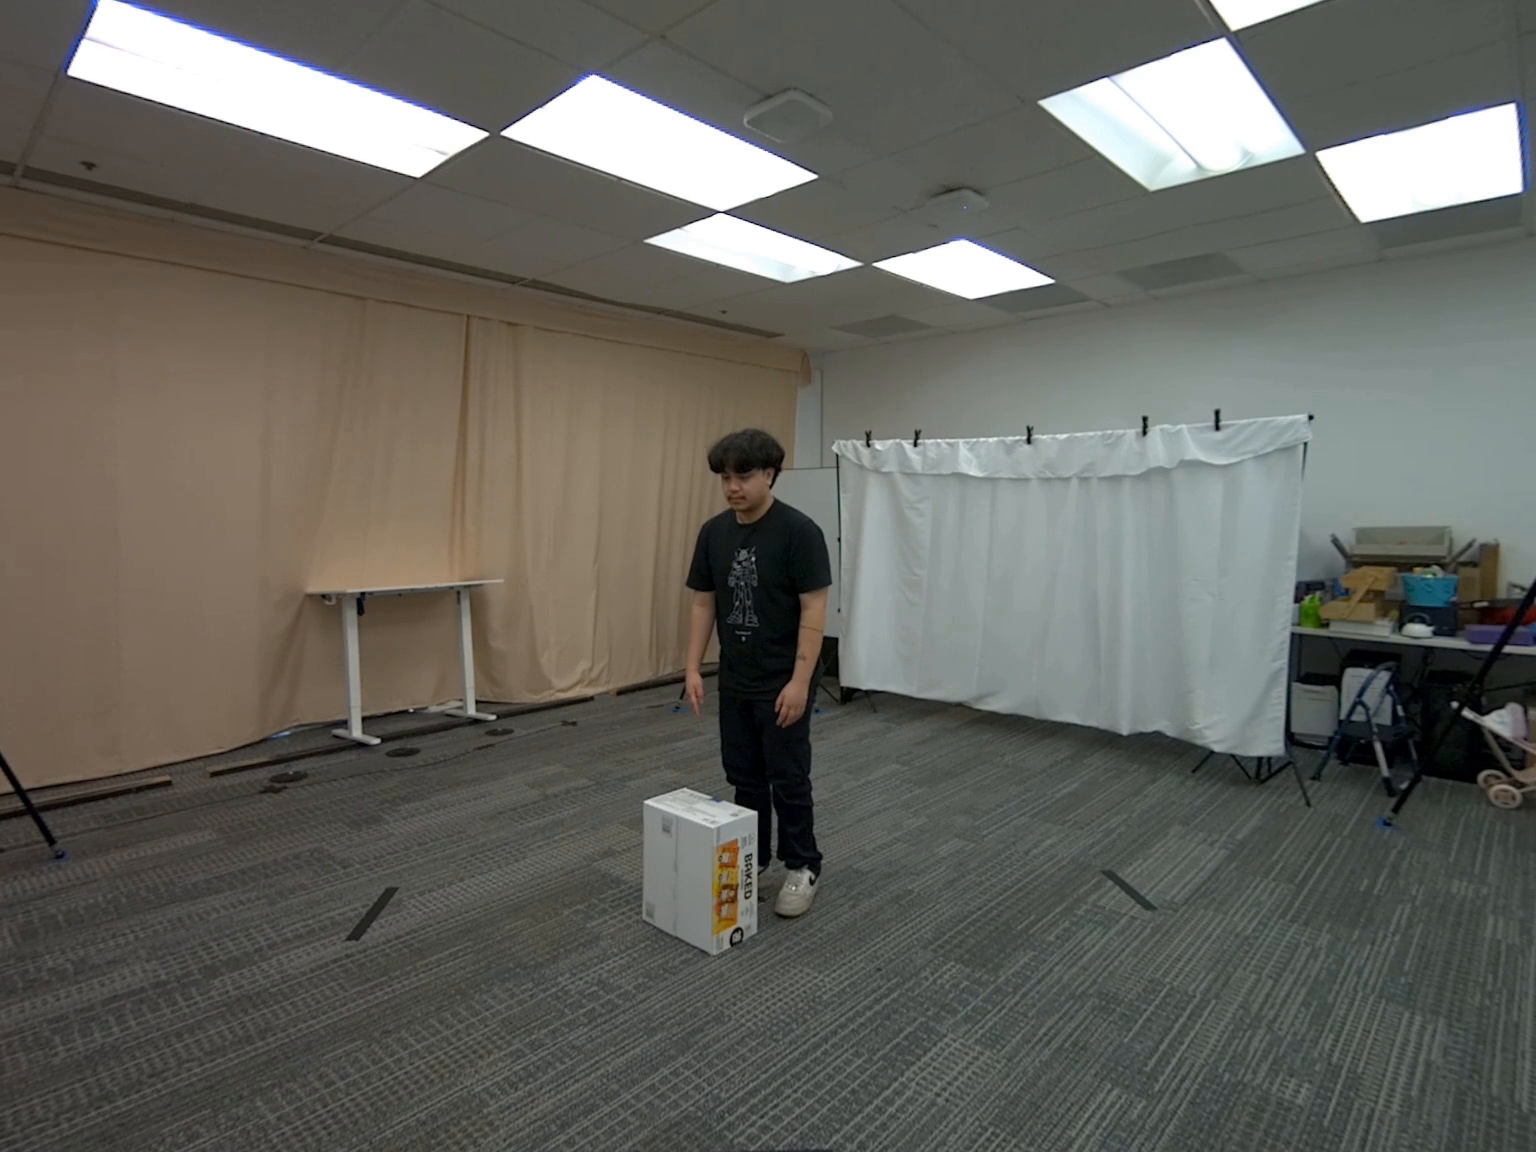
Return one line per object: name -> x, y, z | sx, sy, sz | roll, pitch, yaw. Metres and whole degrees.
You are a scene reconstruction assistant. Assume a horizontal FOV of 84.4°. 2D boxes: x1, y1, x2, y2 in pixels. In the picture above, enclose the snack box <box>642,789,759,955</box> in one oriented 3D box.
snack box -> -0.226, 0.958, 2.786 | 0.352, 0.404, 0.199 | 3, 4, 42
